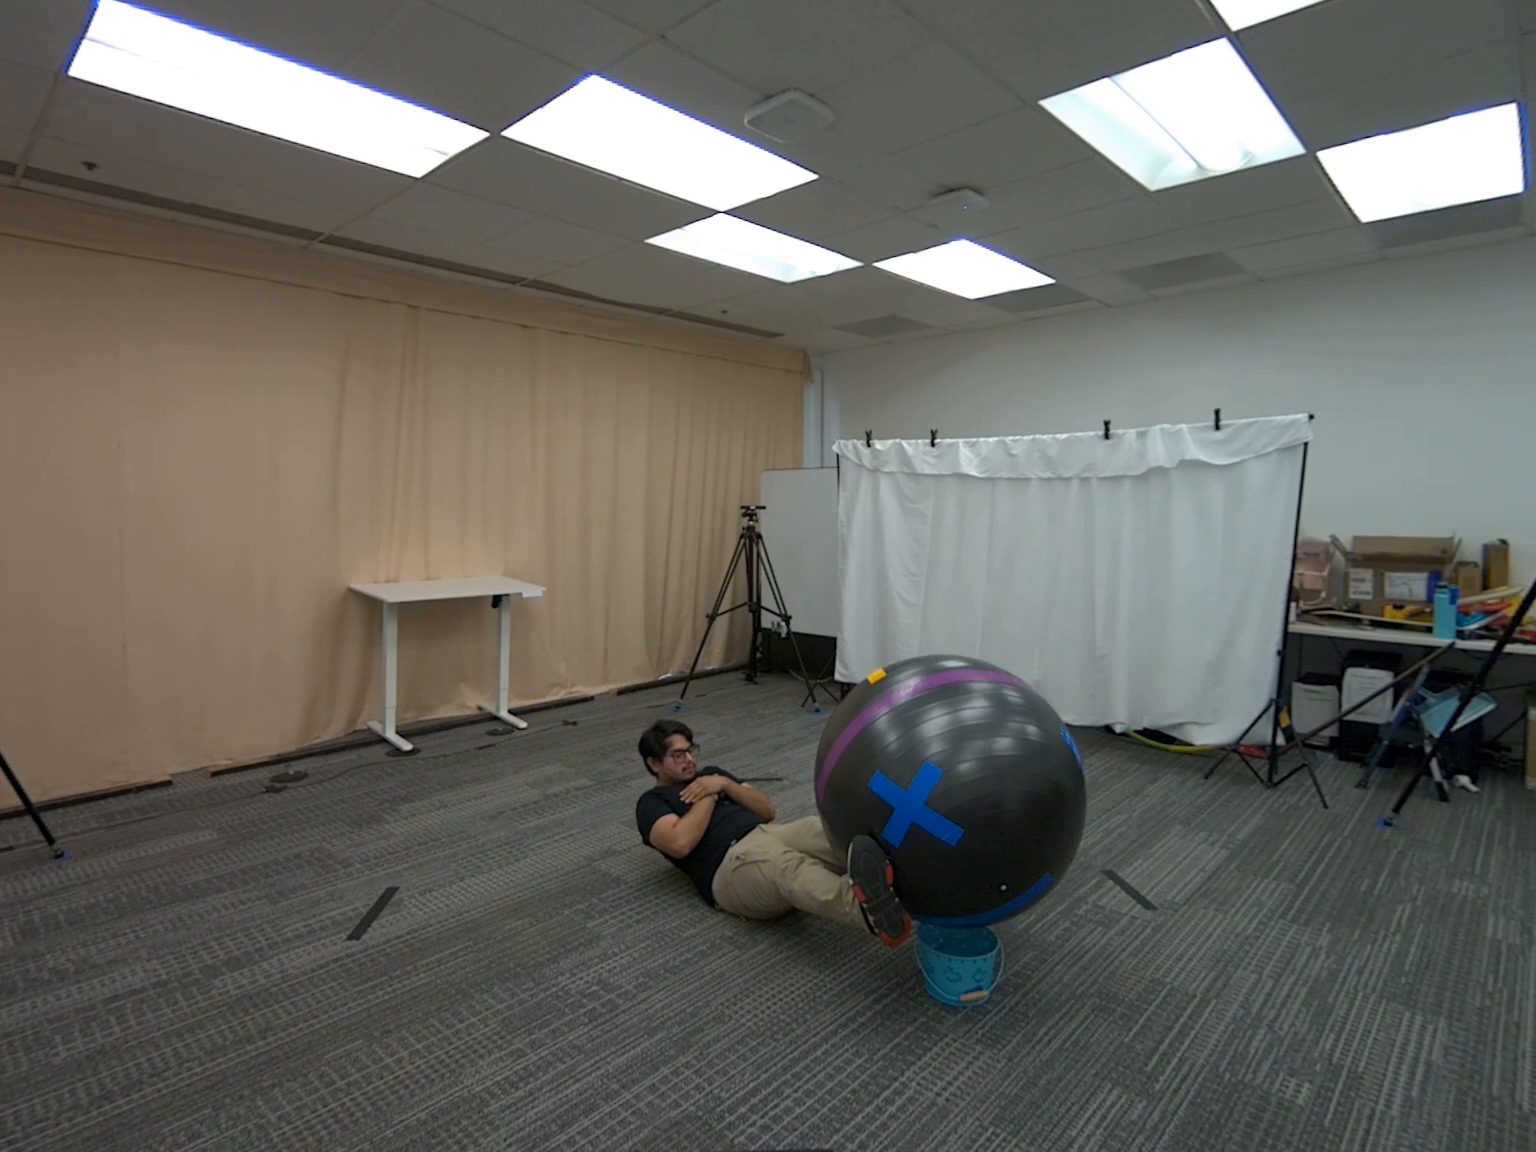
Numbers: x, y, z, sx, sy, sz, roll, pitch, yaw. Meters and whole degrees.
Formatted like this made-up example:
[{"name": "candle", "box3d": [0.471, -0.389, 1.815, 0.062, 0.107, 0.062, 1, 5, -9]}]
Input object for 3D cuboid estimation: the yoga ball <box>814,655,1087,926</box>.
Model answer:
[{"name": "yoga ball", "box3d": [0.521, 0.611, 2.448, 0.757, 0.756, 0.760, 0, 4, -2]}]
